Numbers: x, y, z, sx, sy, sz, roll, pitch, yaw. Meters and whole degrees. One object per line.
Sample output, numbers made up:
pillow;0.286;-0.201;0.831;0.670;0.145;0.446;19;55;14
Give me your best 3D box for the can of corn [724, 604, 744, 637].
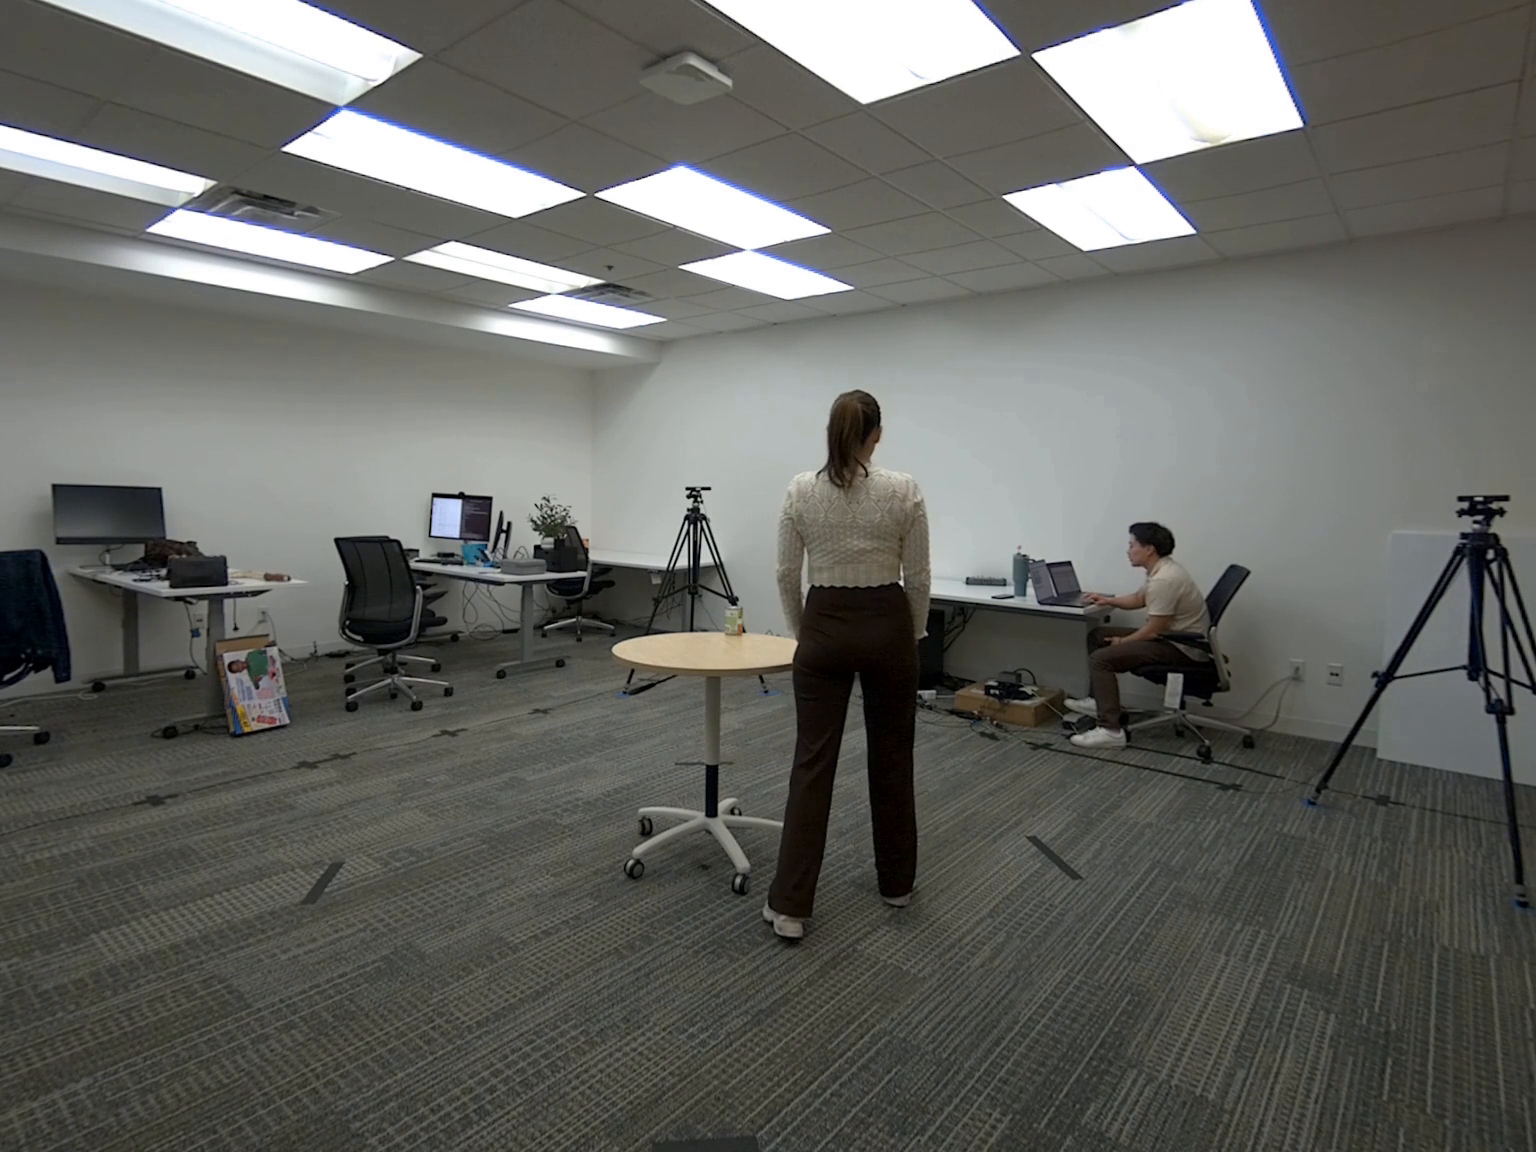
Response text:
can of corn;-0.157;0.184;3.552;0.074;0.111;0.074;3;1;-2
